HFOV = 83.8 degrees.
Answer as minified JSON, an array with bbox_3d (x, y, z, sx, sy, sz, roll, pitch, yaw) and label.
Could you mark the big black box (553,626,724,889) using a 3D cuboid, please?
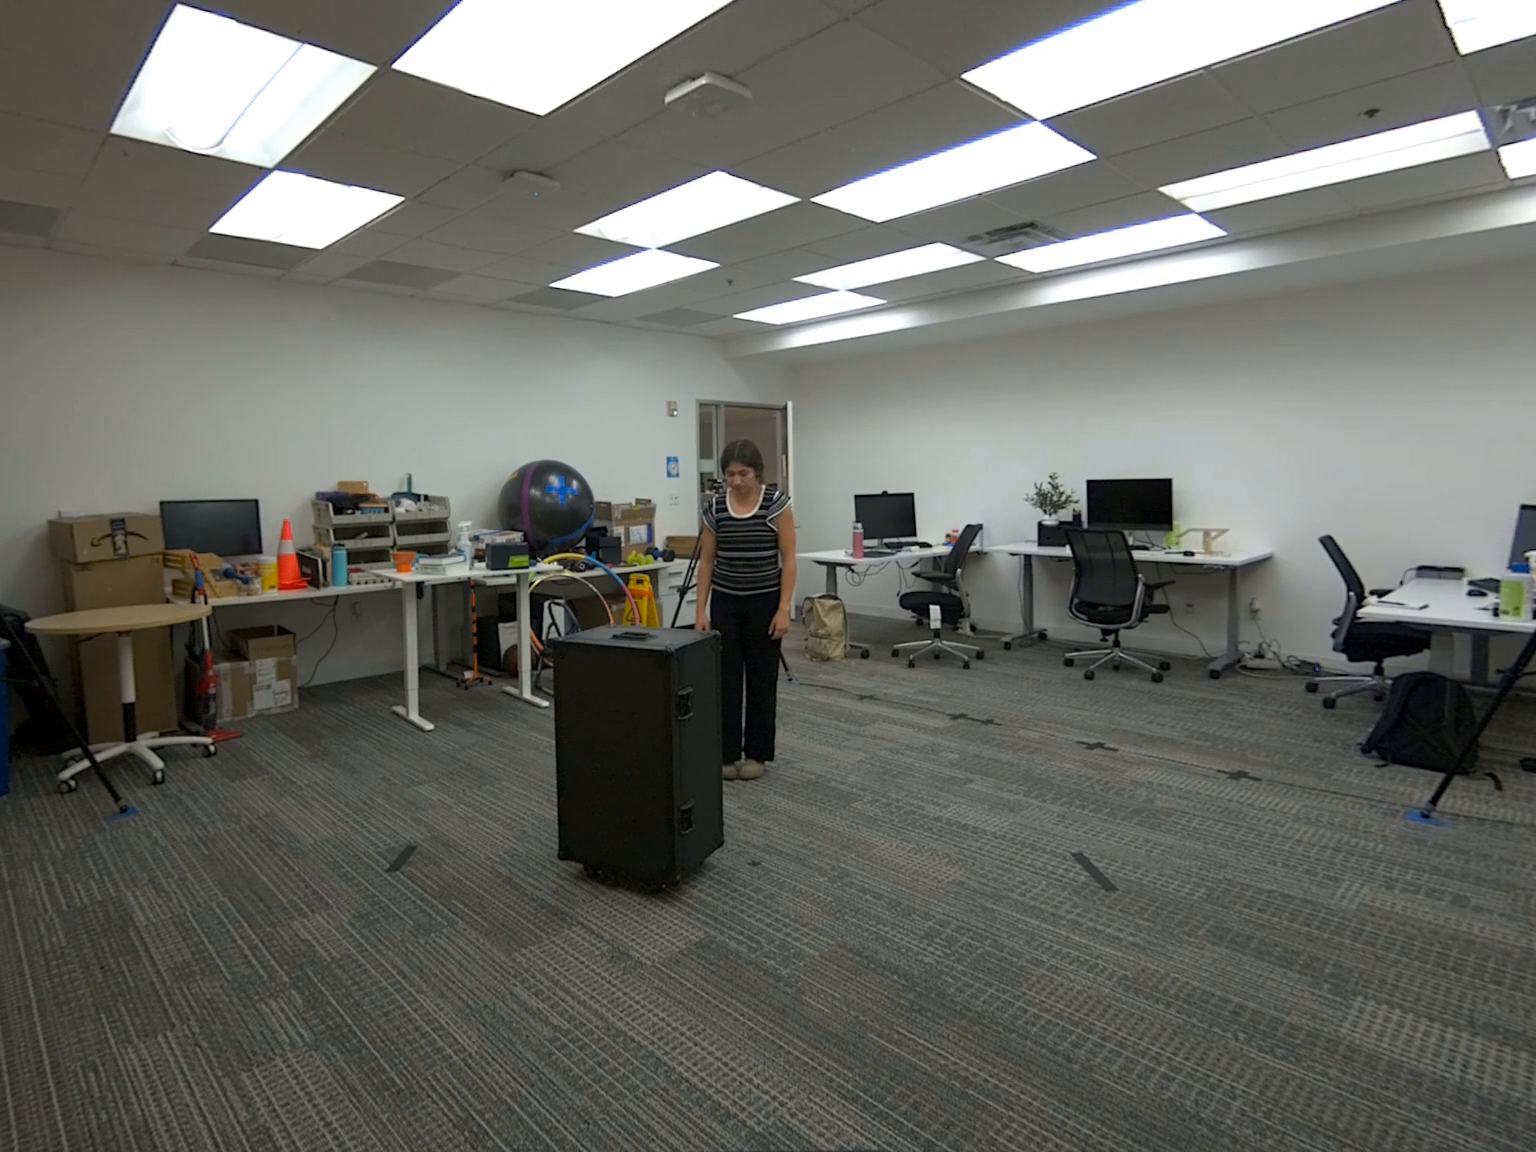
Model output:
[{"bbox_3d":[-0.459,0.633,3.047,0.534,0.859,0.388,1,3,26],"label":"big black box"}]
